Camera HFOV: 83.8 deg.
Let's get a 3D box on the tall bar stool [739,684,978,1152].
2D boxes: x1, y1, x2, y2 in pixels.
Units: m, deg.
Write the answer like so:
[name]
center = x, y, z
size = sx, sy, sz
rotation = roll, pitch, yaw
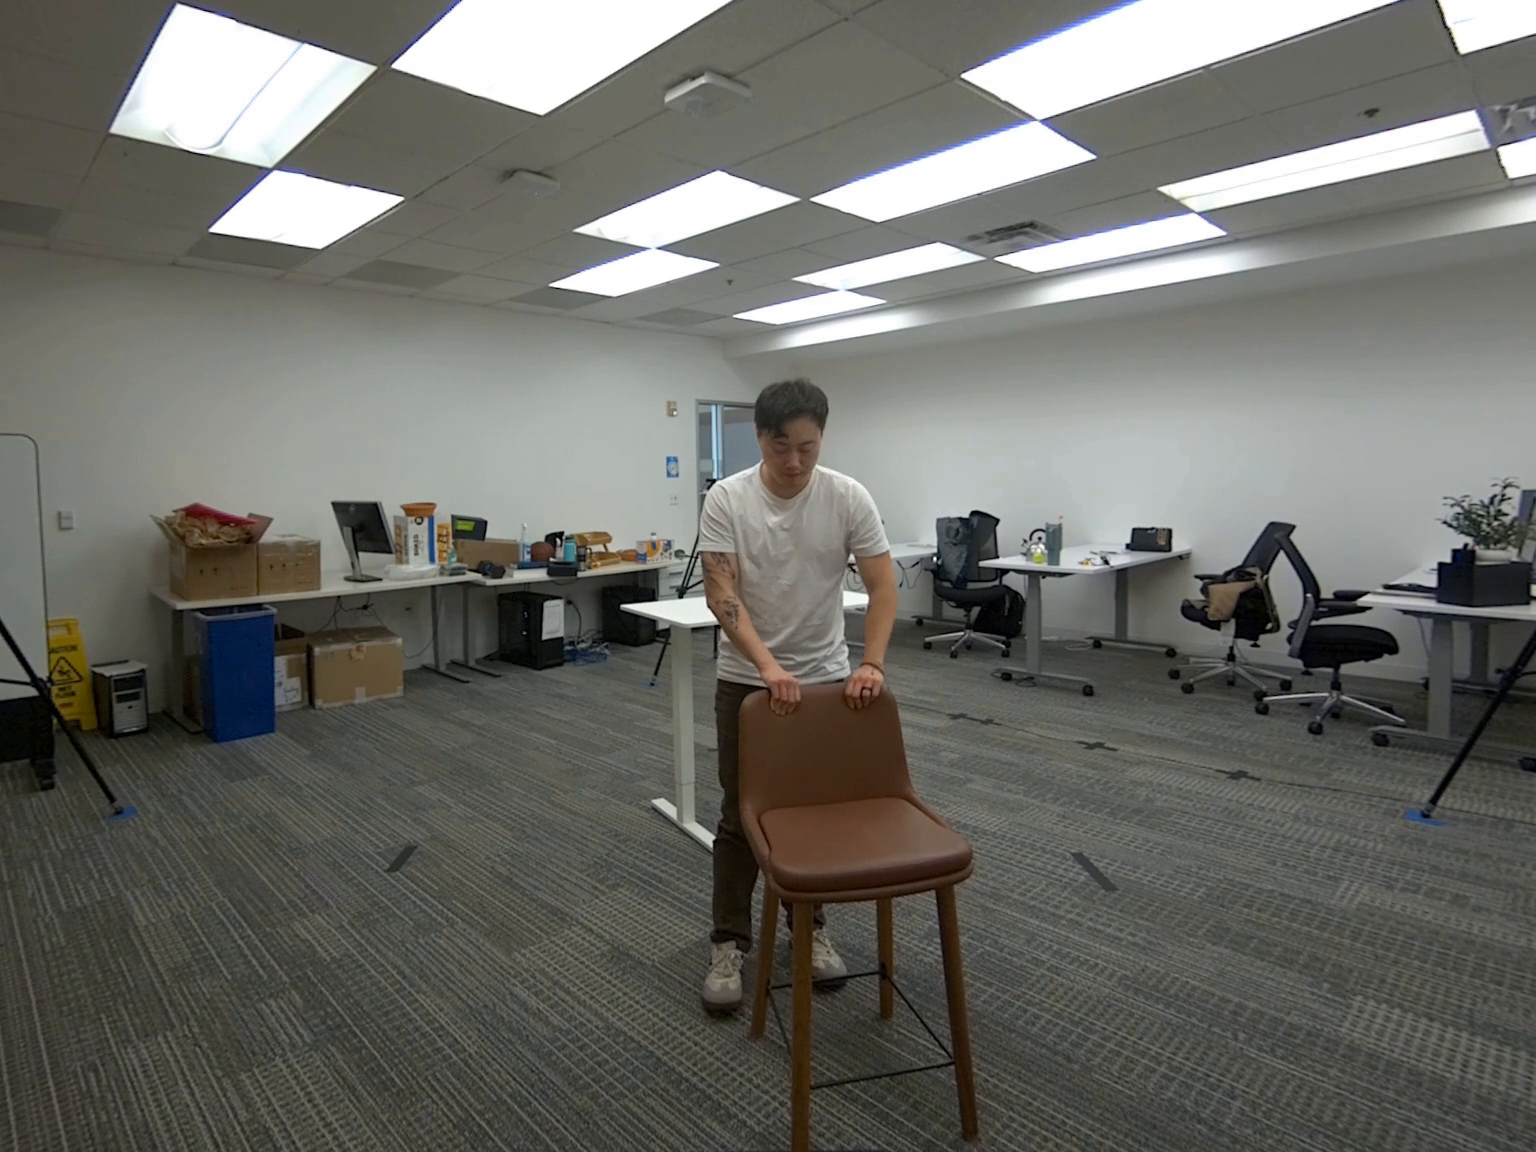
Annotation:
[tall bar stool]
center = 0.192, 0.744, 1.956
size = 0.451, 0.888, 0.474
rotation = -3, 3, -13
